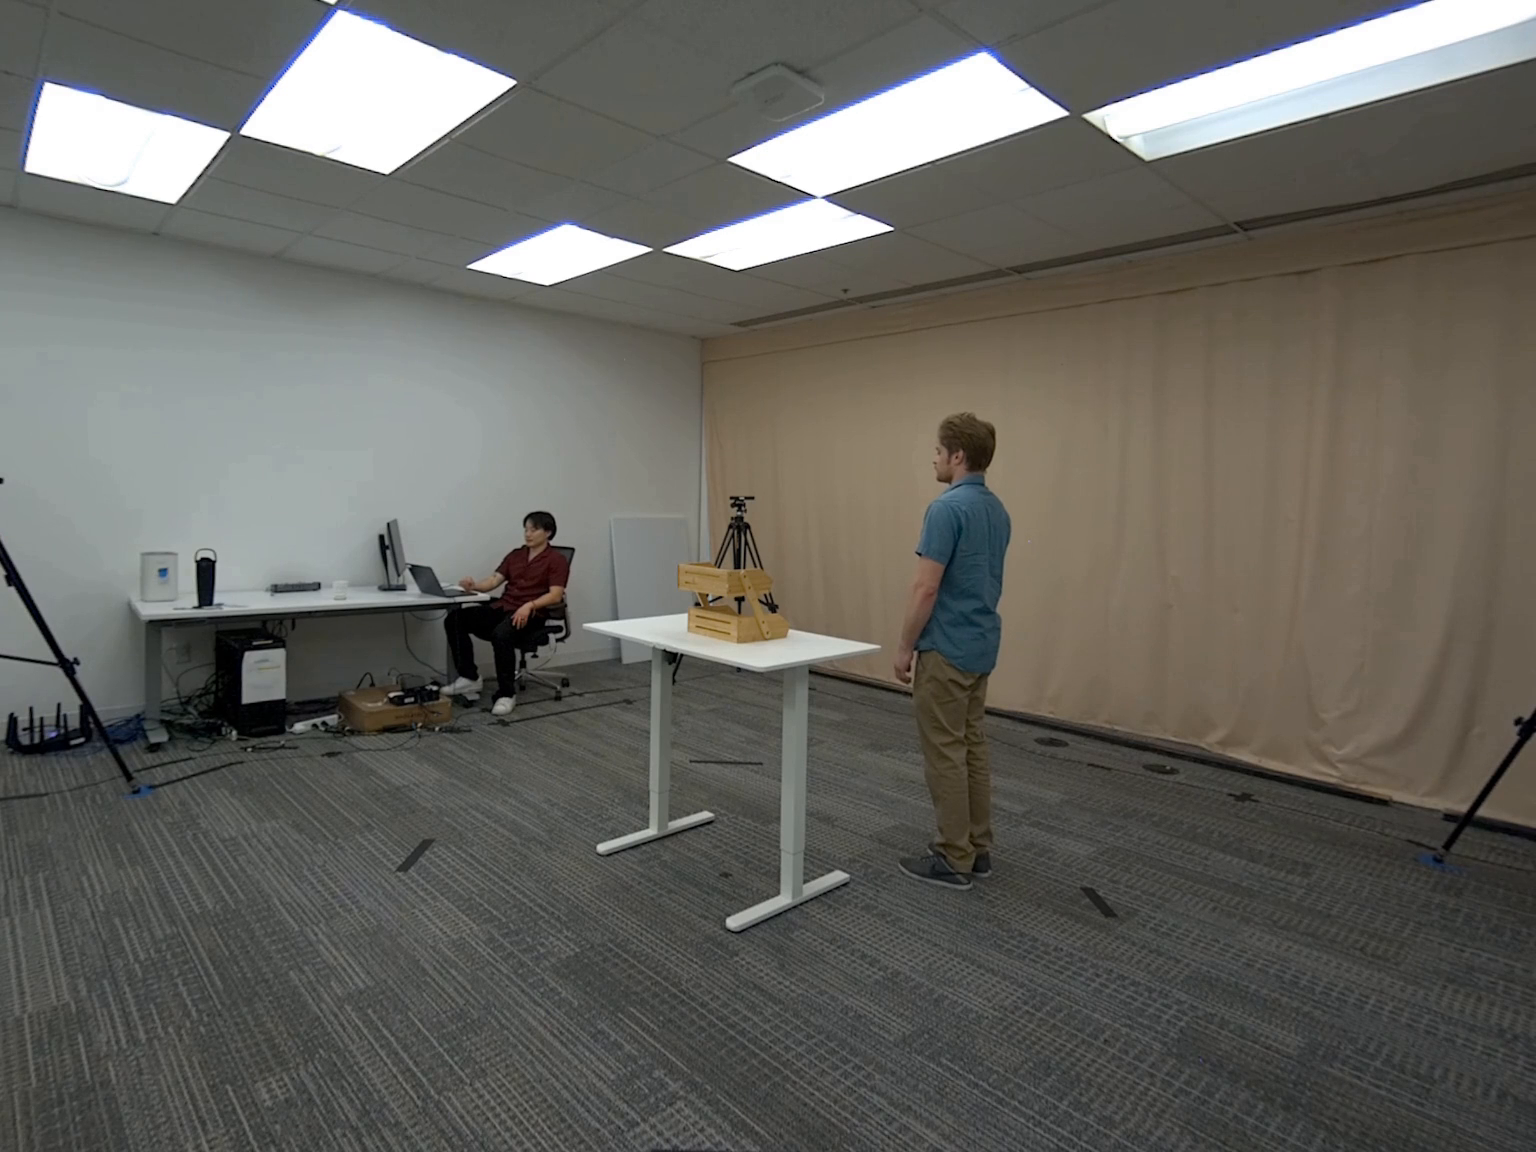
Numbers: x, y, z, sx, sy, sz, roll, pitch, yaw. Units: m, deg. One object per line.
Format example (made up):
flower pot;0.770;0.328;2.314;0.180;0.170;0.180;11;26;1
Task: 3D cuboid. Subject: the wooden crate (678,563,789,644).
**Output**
wooden crate;-0.132;0.088;3.118;0.295;0.272;0.333;-4;7;-41
